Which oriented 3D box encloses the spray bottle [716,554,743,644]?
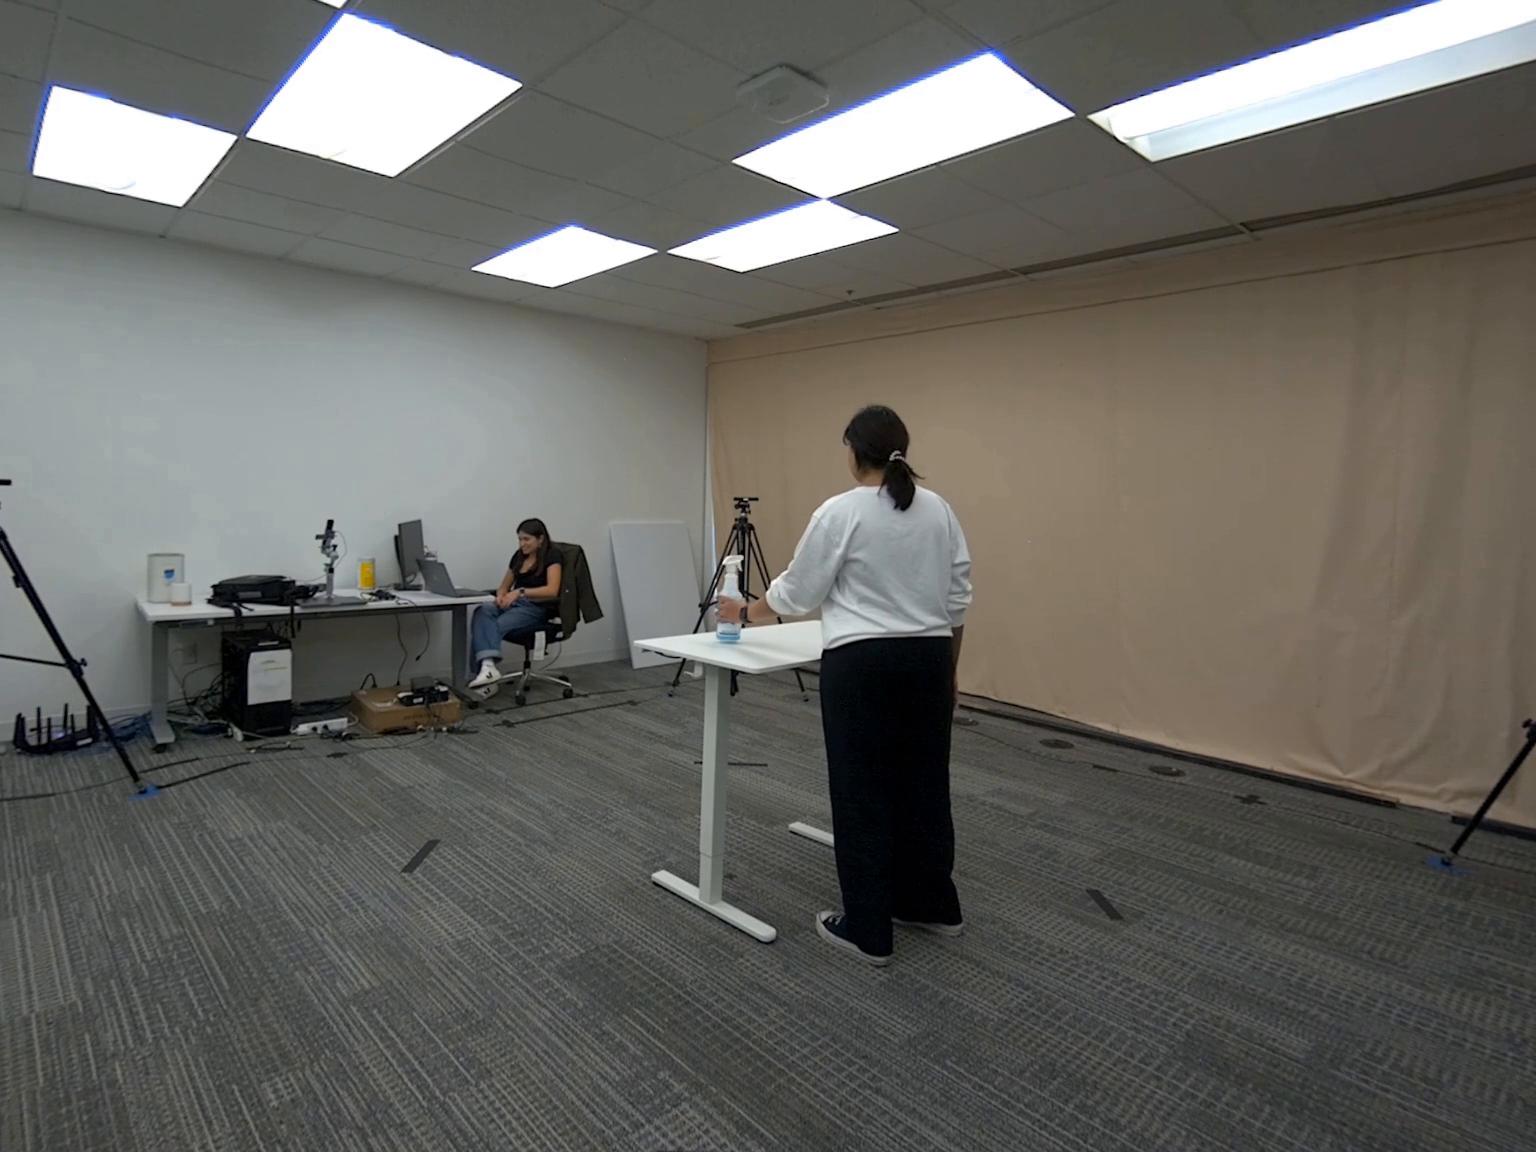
[{"bbox_3d":[-0.134,0.078,2.957,0.089,0.297,0.088,2,2,-15],"label":"spray bottle"}]
